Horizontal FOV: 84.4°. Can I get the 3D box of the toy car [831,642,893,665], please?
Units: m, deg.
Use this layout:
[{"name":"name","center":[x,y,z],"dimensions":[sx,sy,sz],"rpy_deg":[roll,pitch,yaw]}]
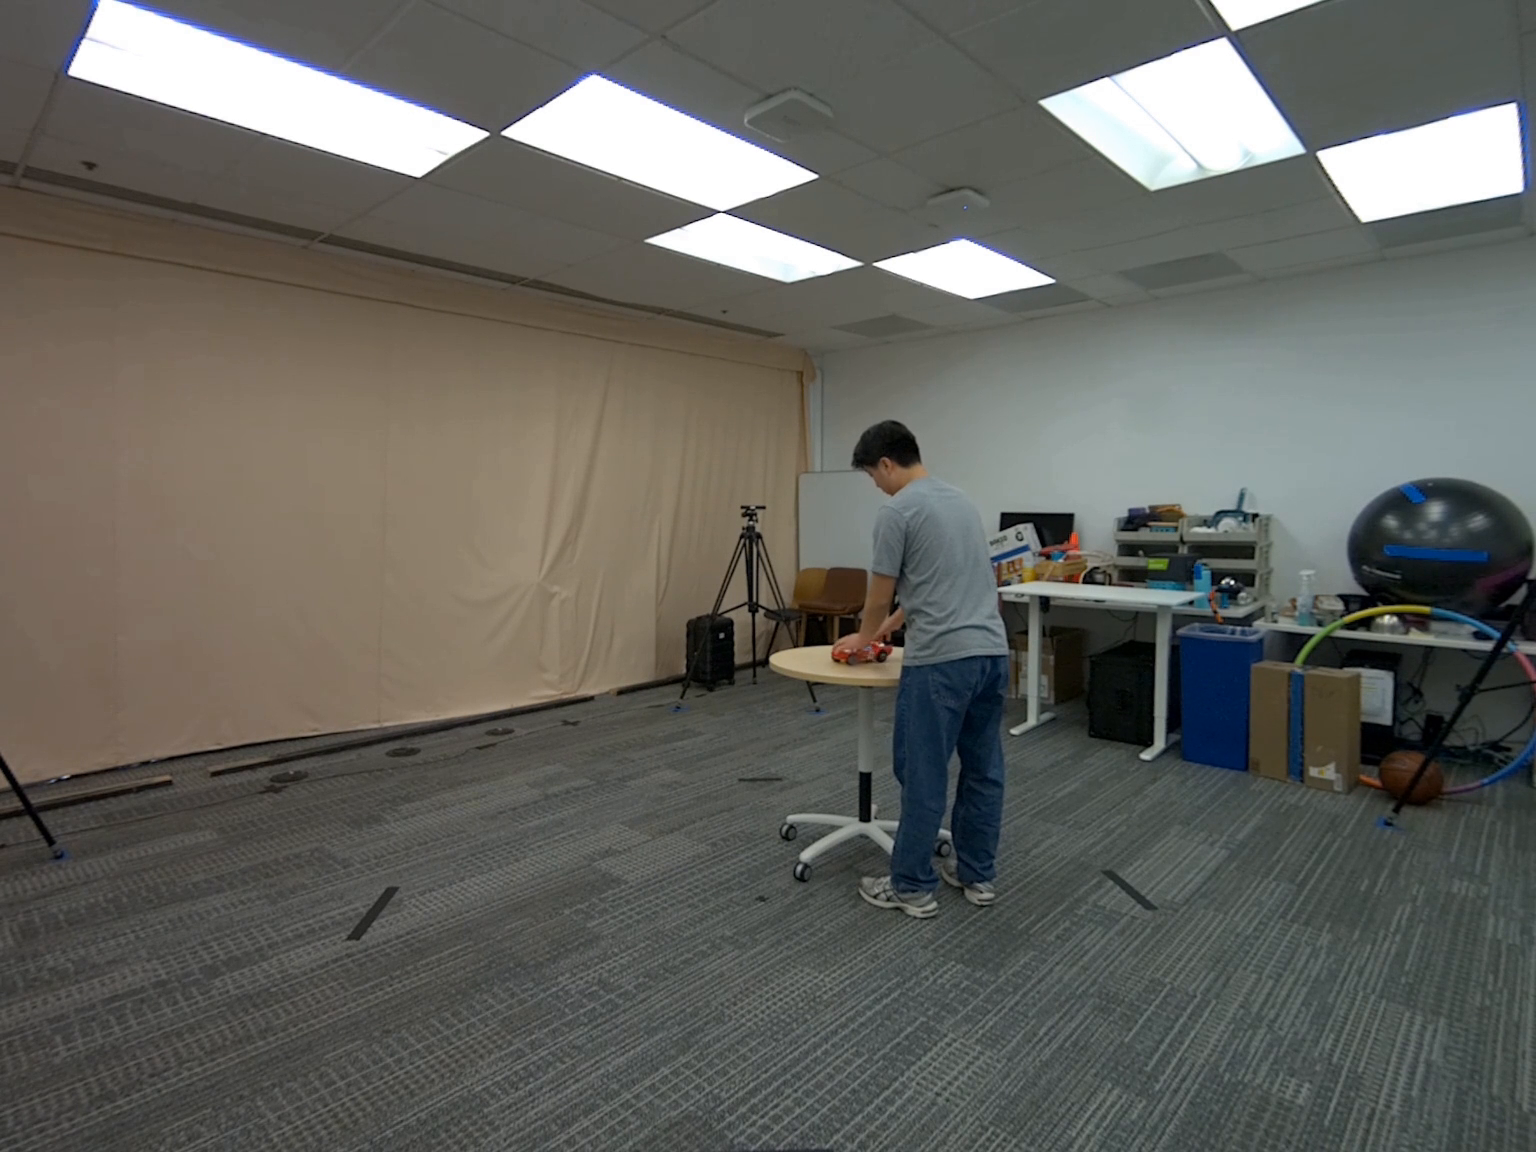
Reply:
[{"name":"toy car","center":[0.381,0.305,3.288],"dimensions":[0.249,0.083,0.134],"rpy_deg":[-14,9,-26]}]
